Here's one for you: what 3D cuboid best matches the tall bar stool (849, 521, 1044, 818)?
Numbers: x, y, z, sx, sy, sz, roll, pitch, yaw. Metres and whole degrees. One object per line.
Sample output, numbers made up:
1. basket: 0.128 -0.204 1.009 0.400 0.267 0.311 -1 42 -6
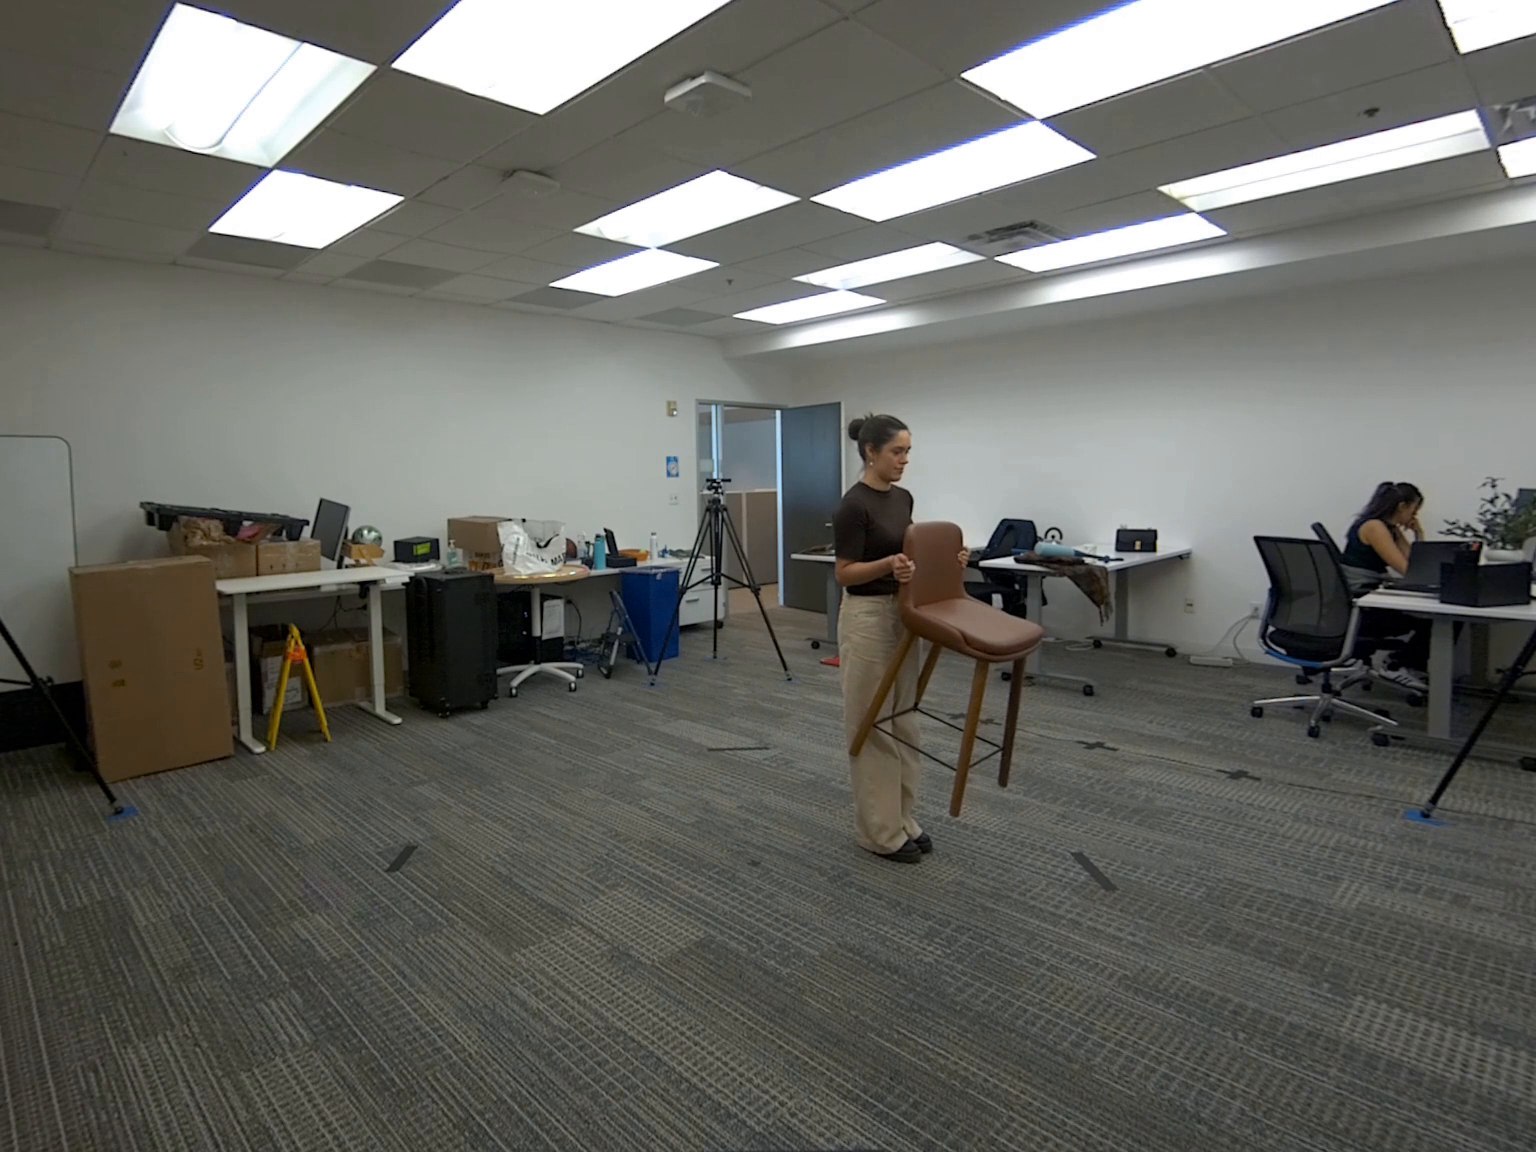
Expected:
1. tall bar stool: 0.674 0.302 3.013 0.484 0.882 0.444 20 15 38
